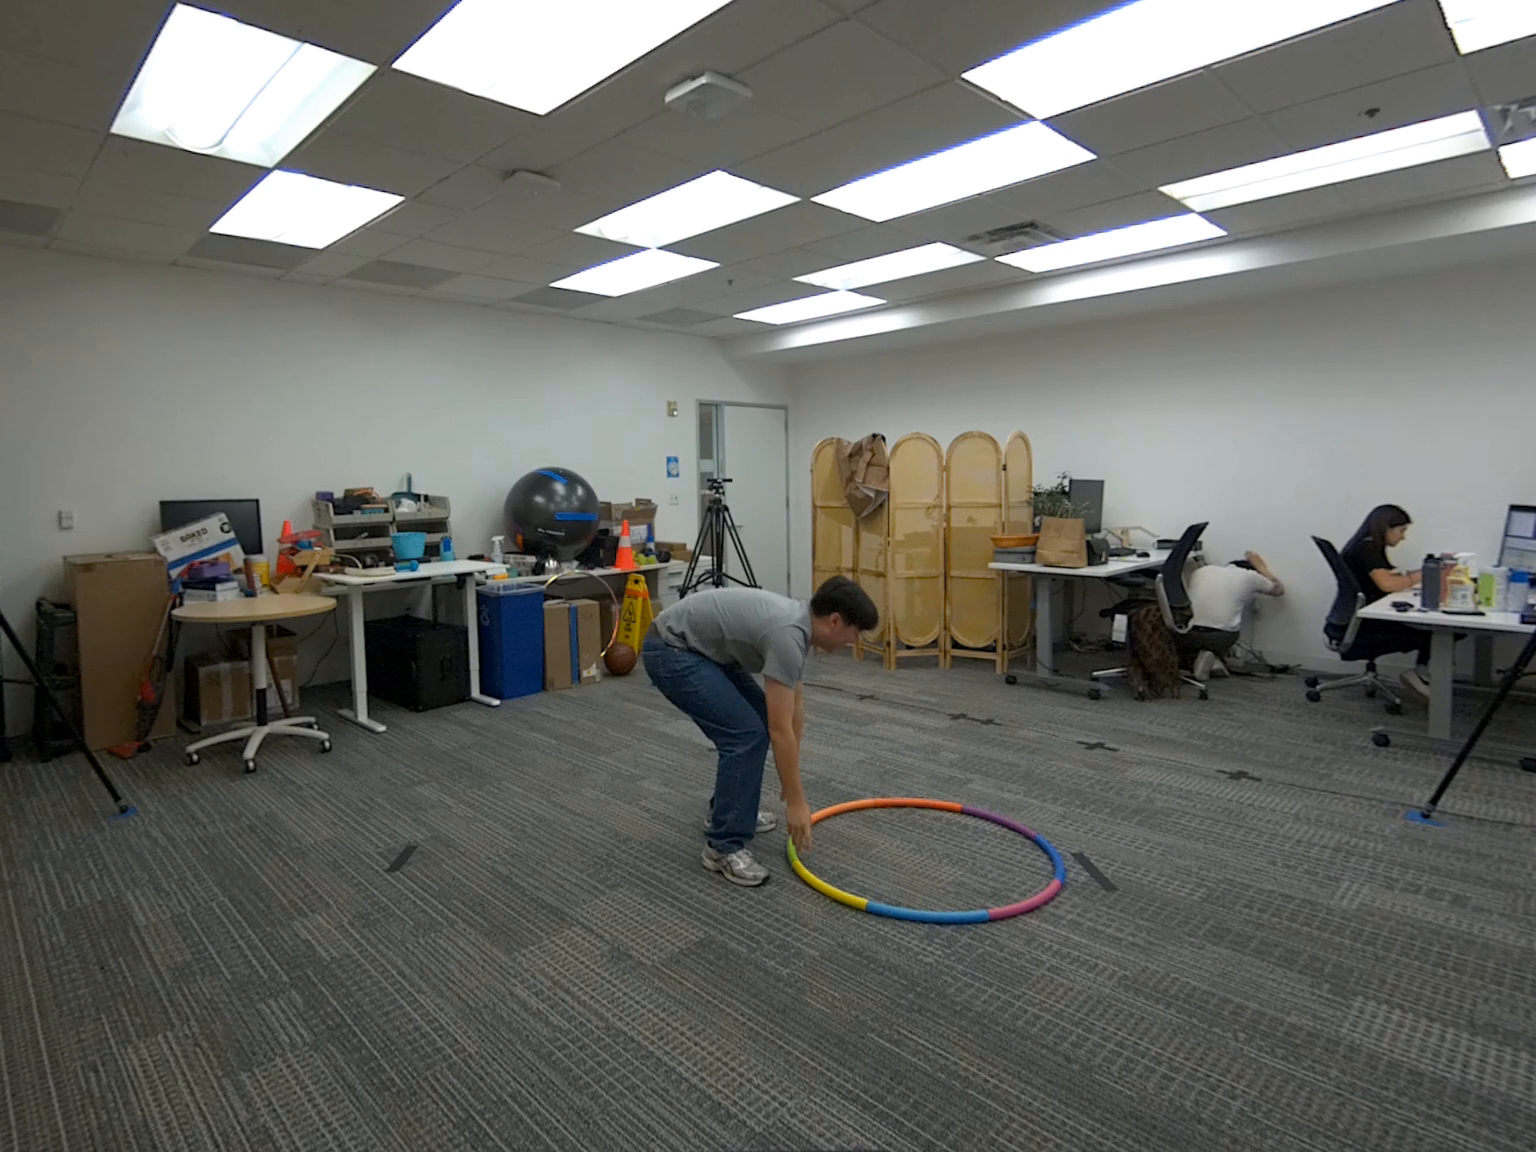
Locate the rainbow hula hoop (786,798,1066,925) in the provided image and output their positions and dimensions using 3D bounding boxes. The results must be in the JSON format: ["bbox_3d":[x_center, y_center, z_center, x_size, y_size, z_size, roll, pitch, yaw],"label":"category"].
[{"bbox_3d":[0.554,1.000,3.143,0.978,0.035,0.984,-1,7,-2],"label":"rainbow hula hoop"}]
